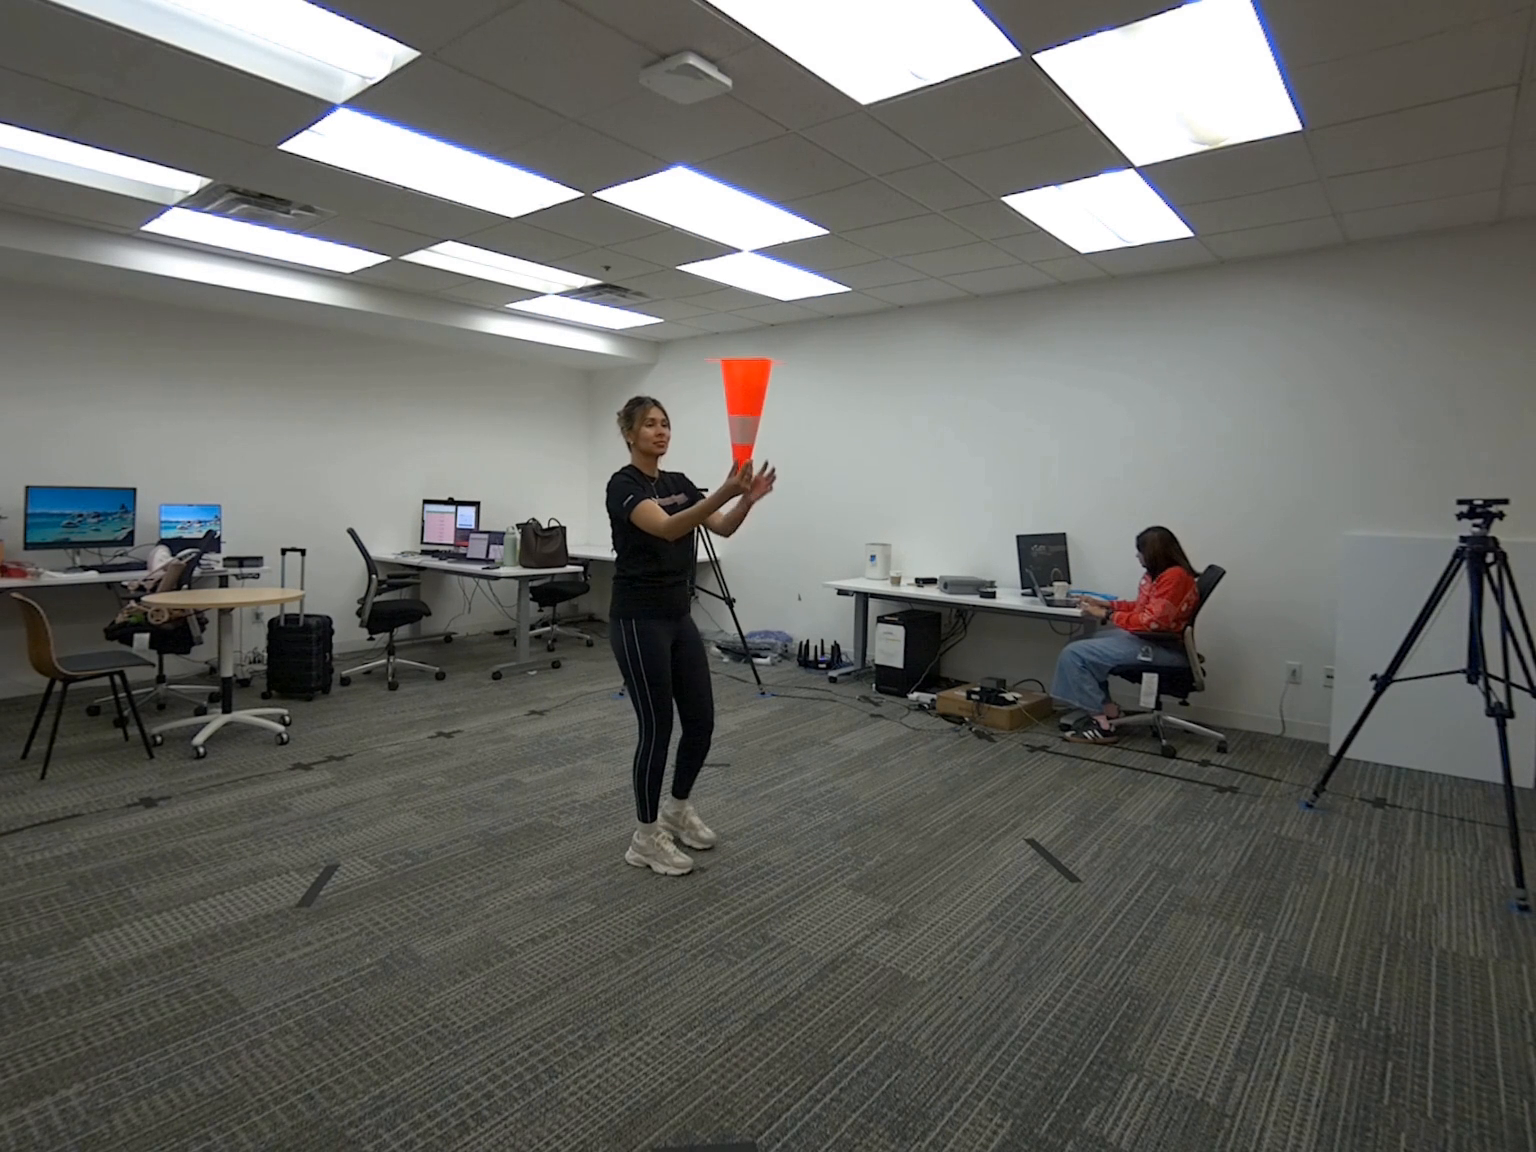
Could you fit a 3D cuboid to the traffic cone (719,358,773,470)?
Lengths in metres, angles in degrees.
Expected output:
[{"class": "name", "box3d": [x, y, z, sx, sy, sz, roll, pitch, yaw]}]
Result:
[{"class": "traffic cone", "box3d": [-0.079, -0.481, 2.647, 0.210, 0.381, 0.199, 5, 9, 25]}]
